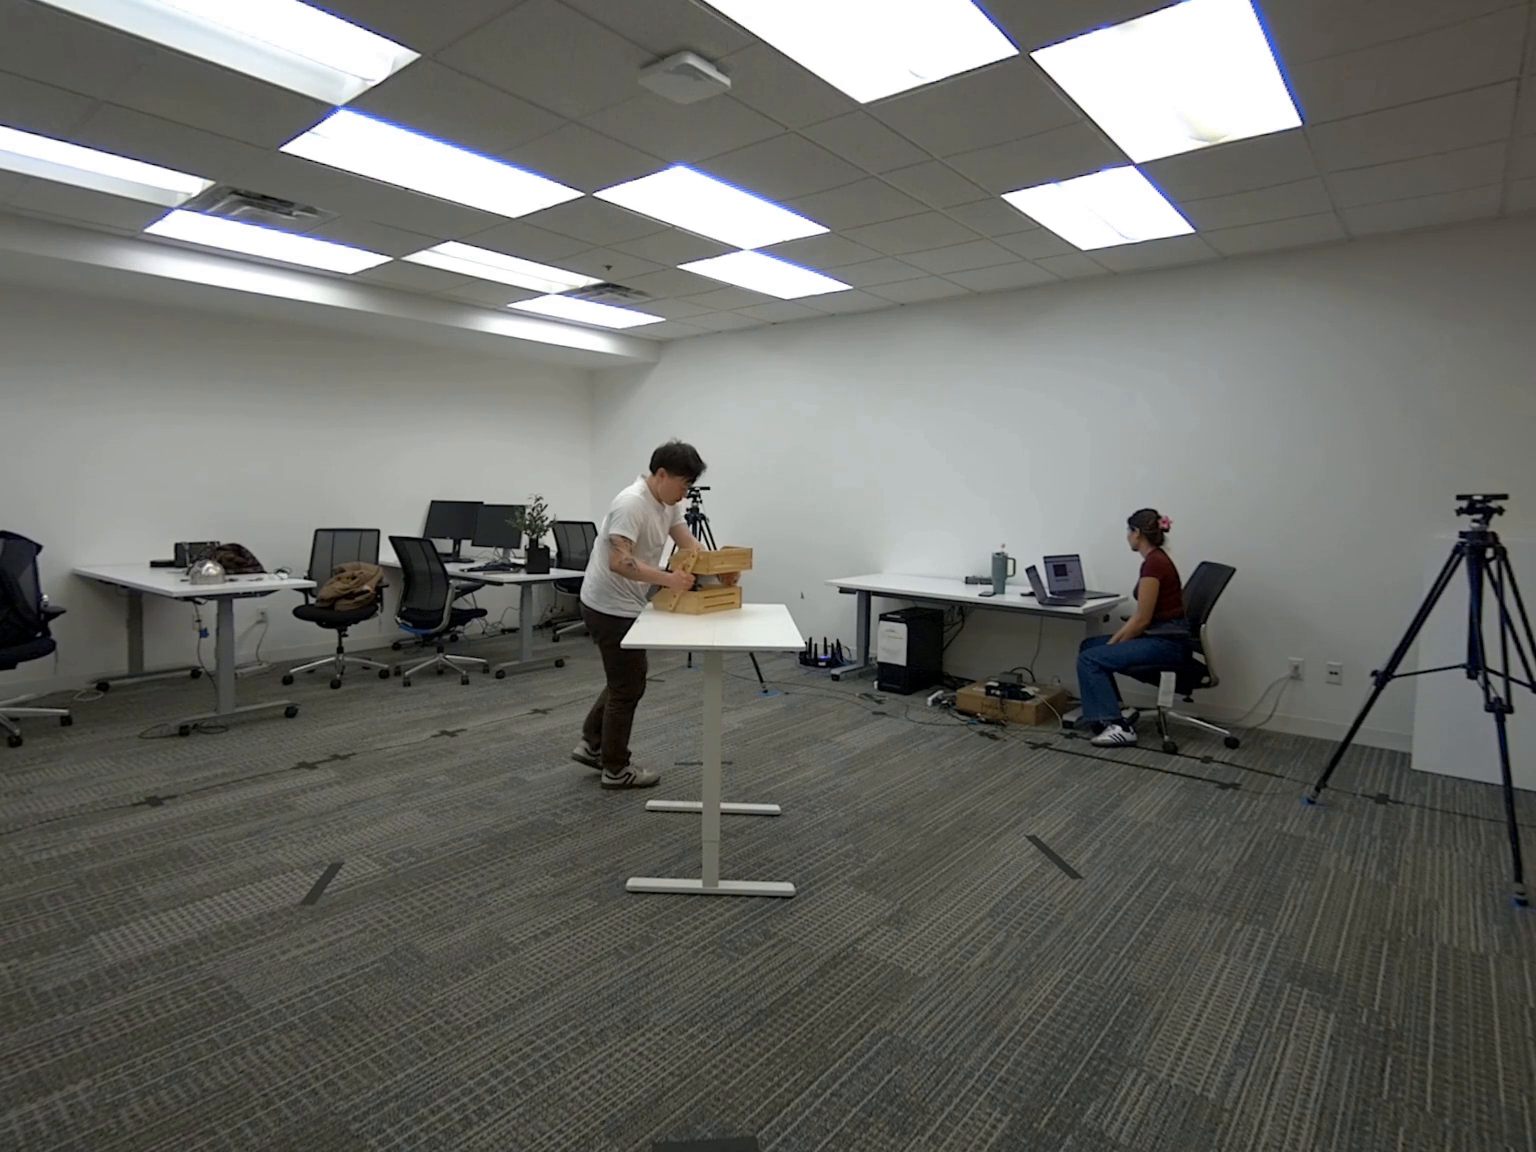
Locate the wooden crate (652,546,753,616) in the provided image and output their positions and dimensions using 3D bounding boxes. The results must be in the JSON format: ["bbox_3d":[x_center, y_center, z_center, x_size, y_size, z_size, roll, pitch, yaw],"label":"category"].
[{"bbox_3d":[-0.287,0.003,3.564,0.312,0.272,0.315,6,7,37],"label":"wooden crate"}]
